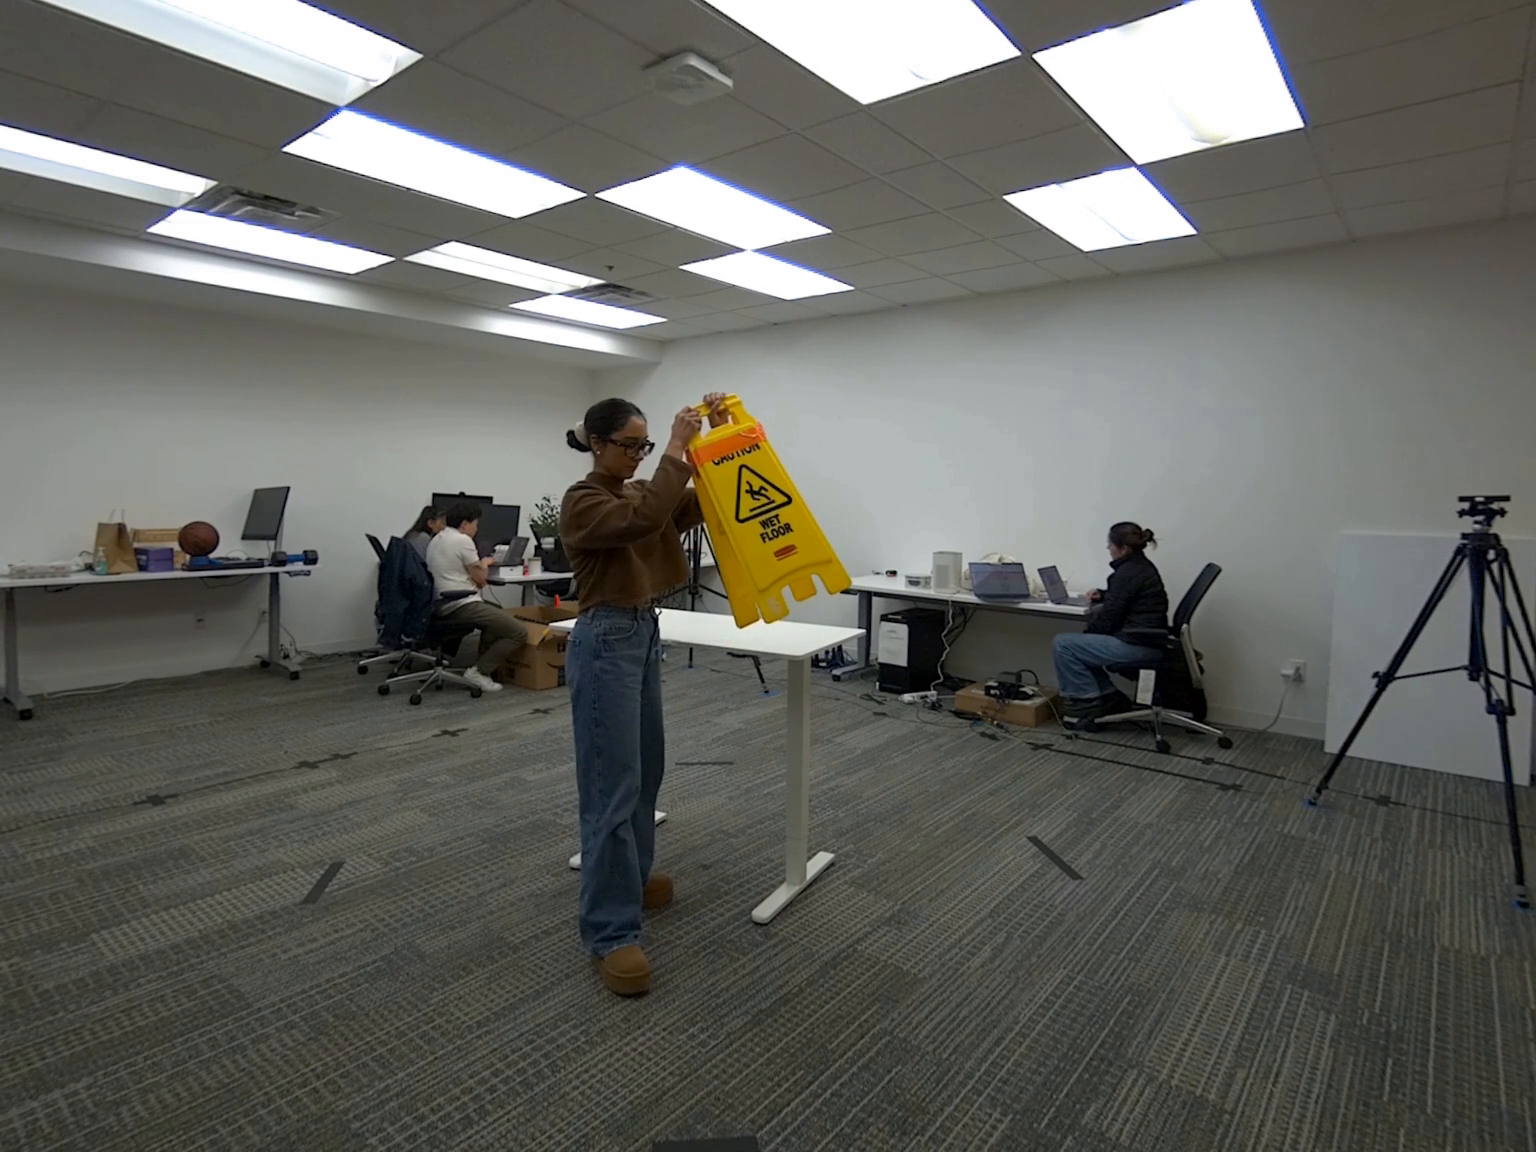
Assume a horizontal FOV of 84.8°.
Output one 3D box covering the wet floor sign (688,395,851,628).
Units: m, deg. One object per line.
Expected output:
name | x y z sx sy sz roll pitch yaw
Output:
wet floor sign | -0.070 -0.195 2.454 0.279 0.648 0.292 -21 -2 -19
